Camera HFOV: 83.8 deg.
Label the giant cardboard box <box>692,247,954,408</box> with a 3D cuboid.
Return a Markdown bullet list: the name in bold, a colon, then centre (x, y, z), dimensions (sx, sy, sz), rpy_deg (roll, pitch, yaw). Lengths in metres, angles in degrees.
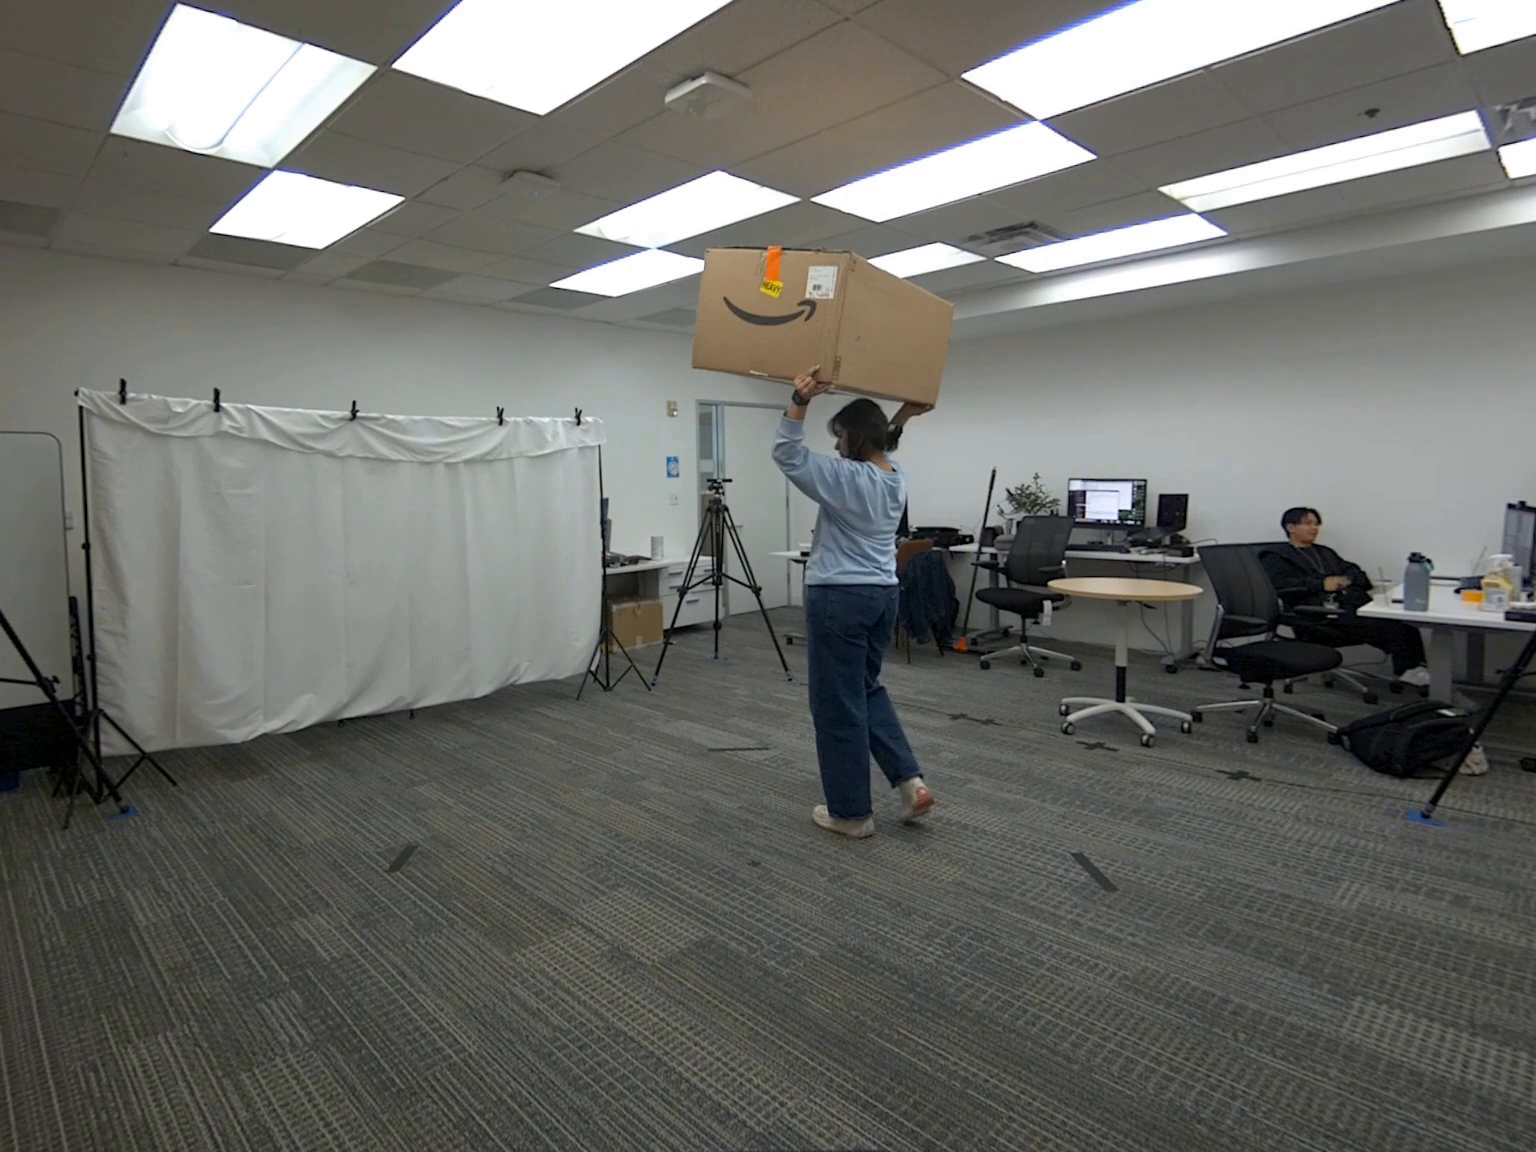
- **giant cardboard box**: centre (0.250, -0.940, 3.333), dimensions (0.595, 0.423, 1.003), rpy_deg (14, 13, 30)
